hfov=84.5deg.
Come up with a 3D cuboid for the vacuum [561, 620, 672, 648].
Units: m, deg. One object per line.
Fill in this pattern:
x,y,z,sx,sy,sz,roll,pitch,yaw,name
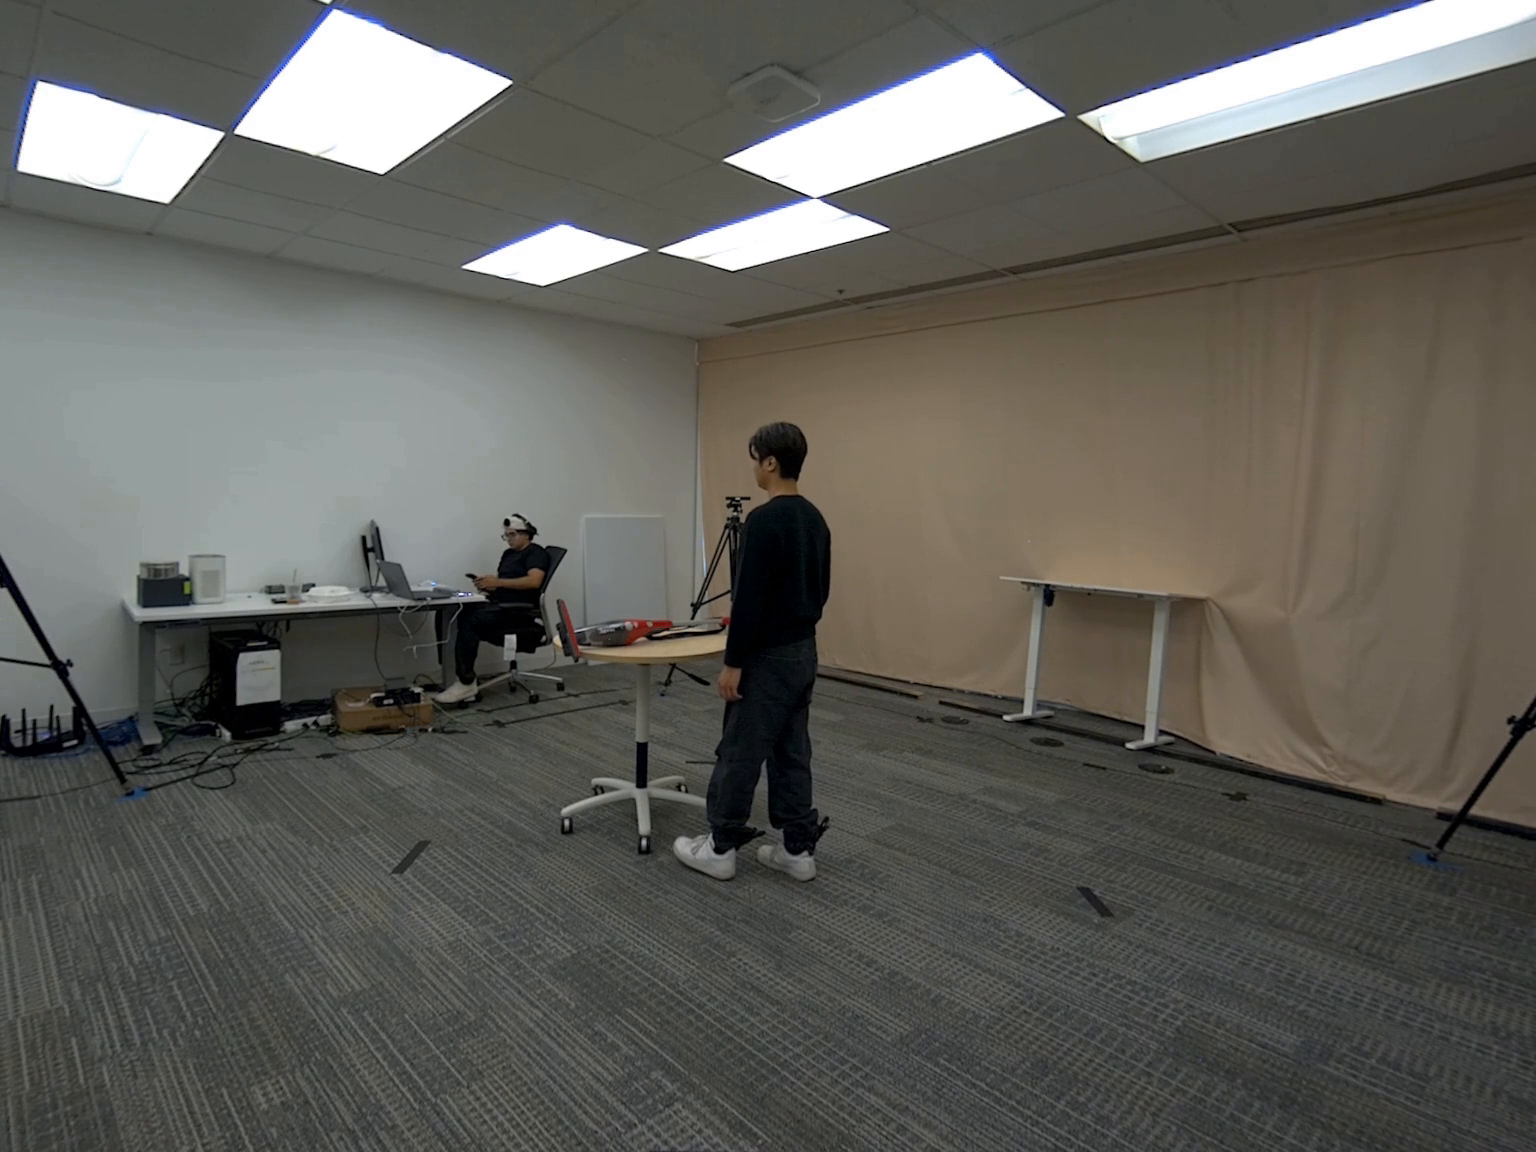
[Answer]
-0.434,0.236,3.607,1.024,0.257,0.145,0,-30,-46,vacuum
